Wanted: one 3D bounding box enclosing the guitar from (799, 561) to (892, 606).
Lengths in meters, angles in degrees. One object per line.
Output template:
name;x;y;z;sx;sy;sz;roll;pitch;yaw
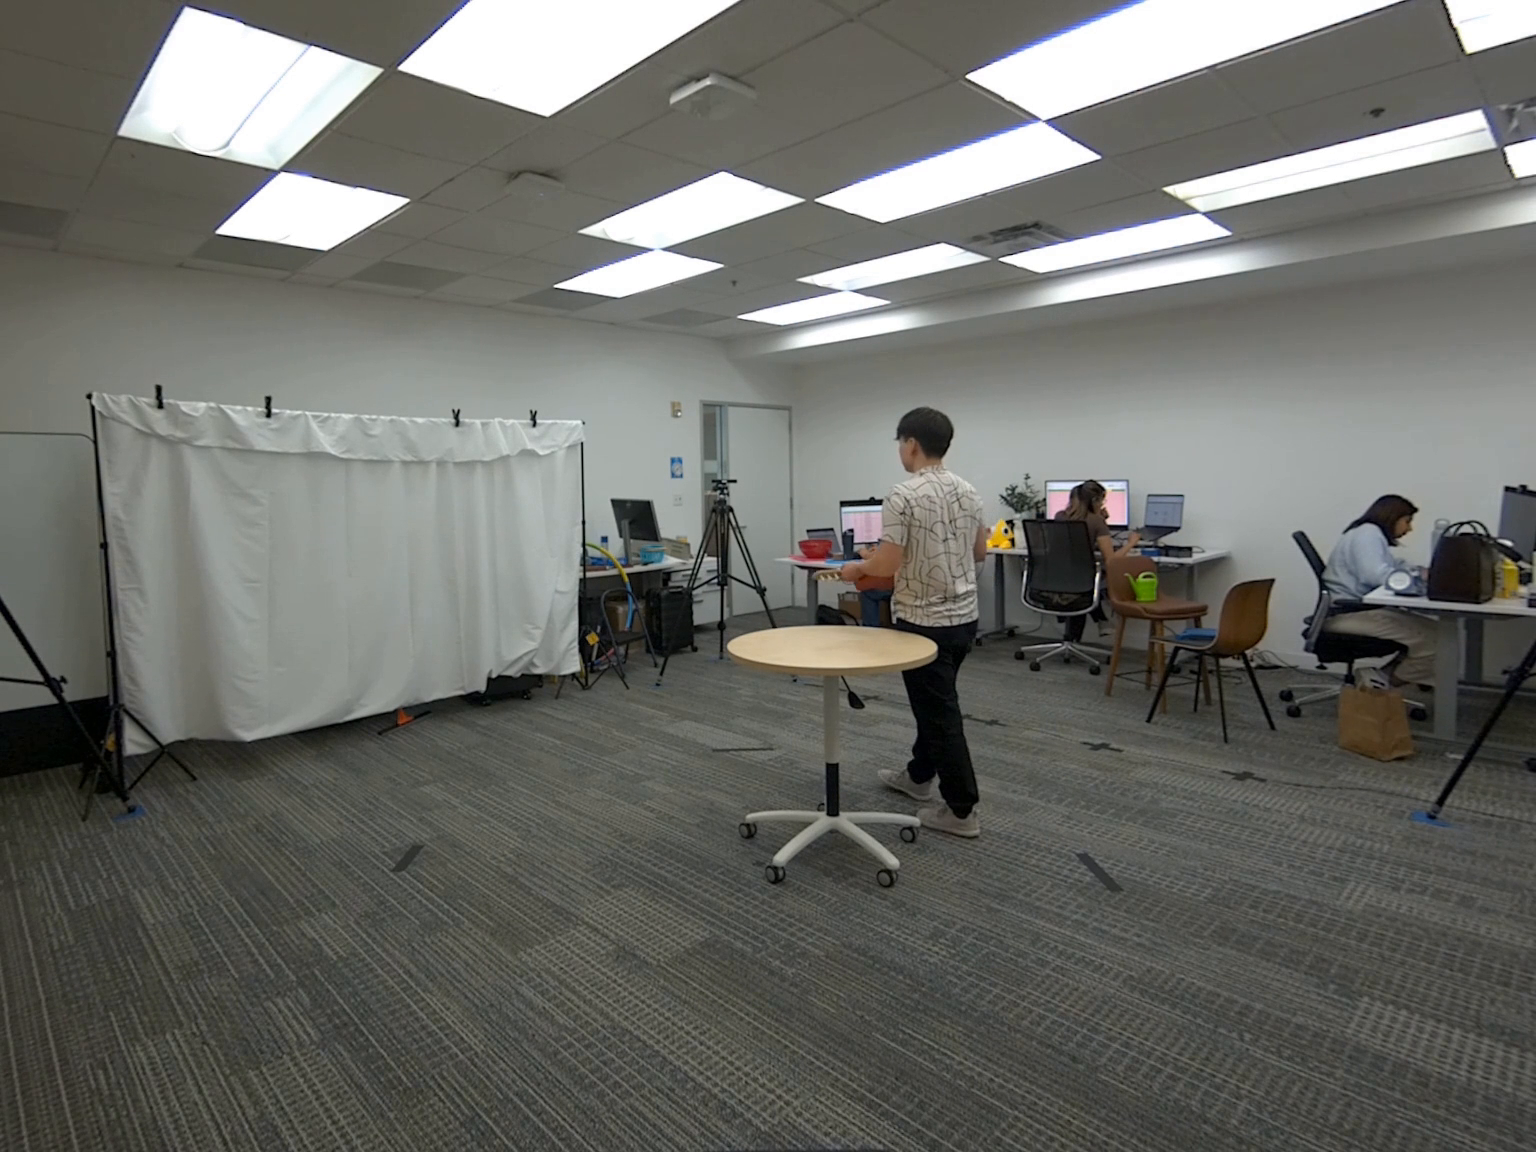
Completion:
guitar;0.391;0.007;3.637;0.487;0.072;0.192;-10;-24;-29
